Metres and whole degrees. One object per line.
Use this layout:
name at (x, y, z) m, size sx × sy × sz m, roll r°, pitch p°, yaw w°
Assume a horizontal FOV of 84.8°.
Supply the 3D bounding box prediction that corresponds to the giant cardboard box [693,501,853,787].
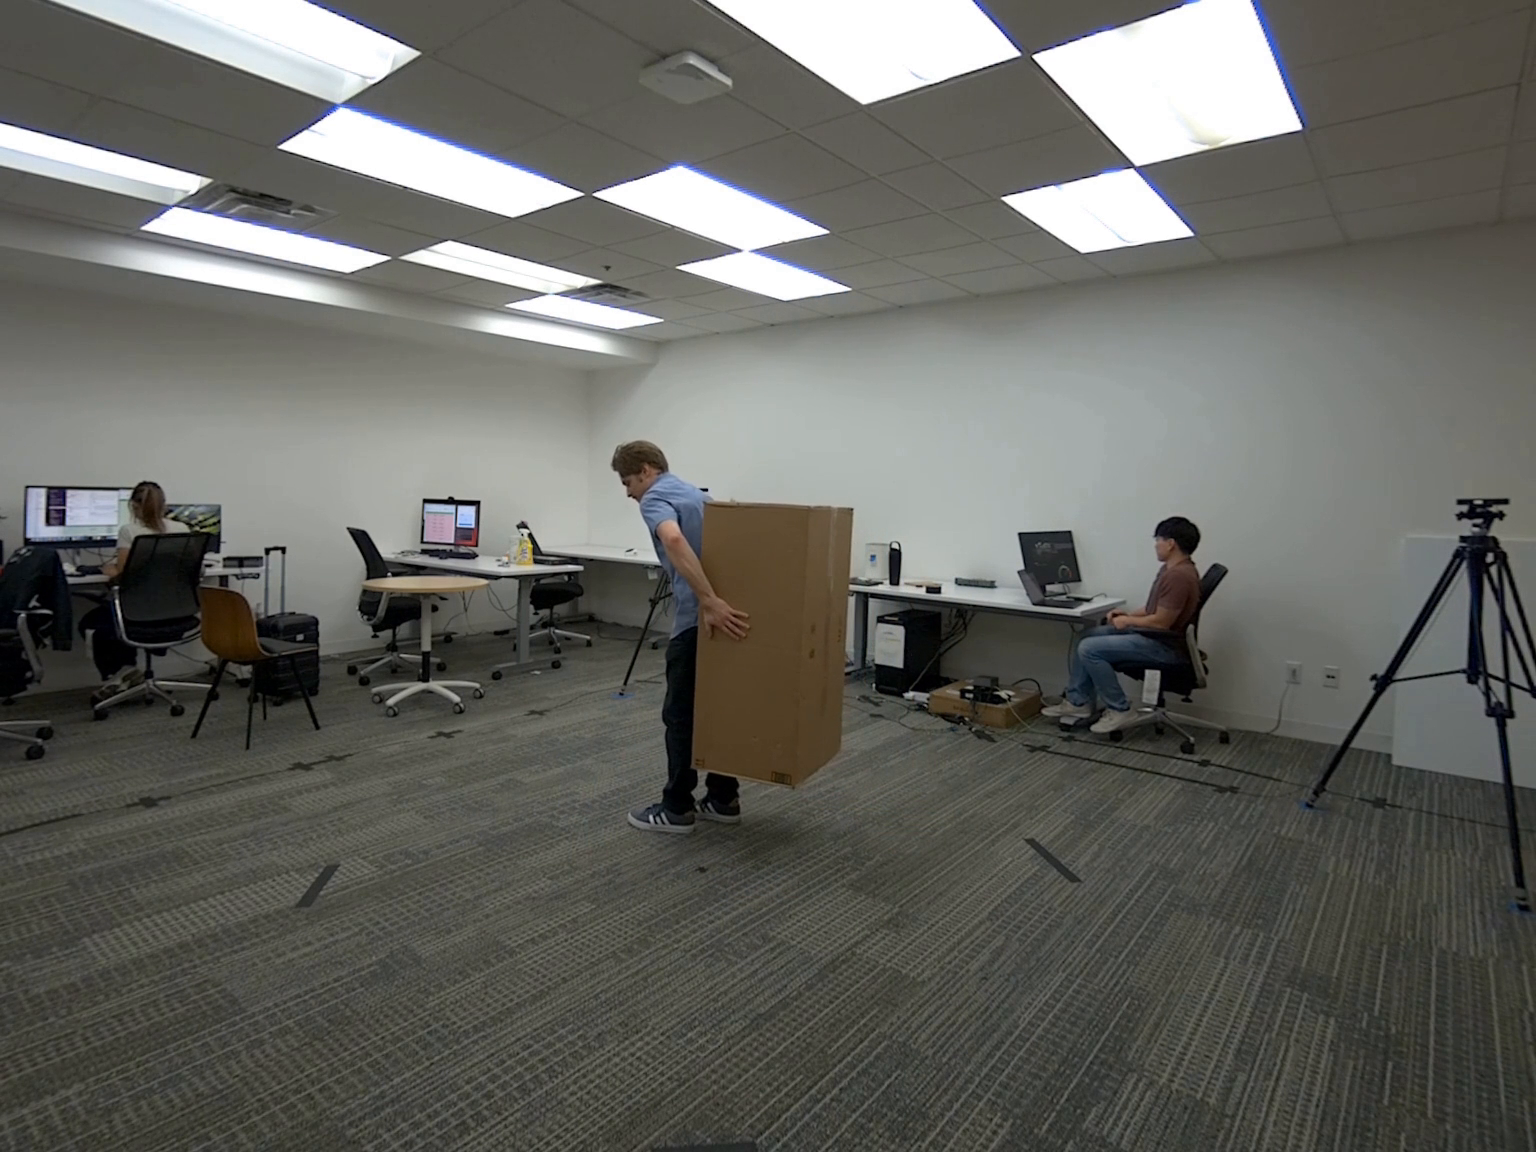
giant cardboard box at (0.024, 0.225, 3.367) m, size 0.458 × 1.024 × 0.571 m, roll 5°, pitch 3°, yaw 21°
